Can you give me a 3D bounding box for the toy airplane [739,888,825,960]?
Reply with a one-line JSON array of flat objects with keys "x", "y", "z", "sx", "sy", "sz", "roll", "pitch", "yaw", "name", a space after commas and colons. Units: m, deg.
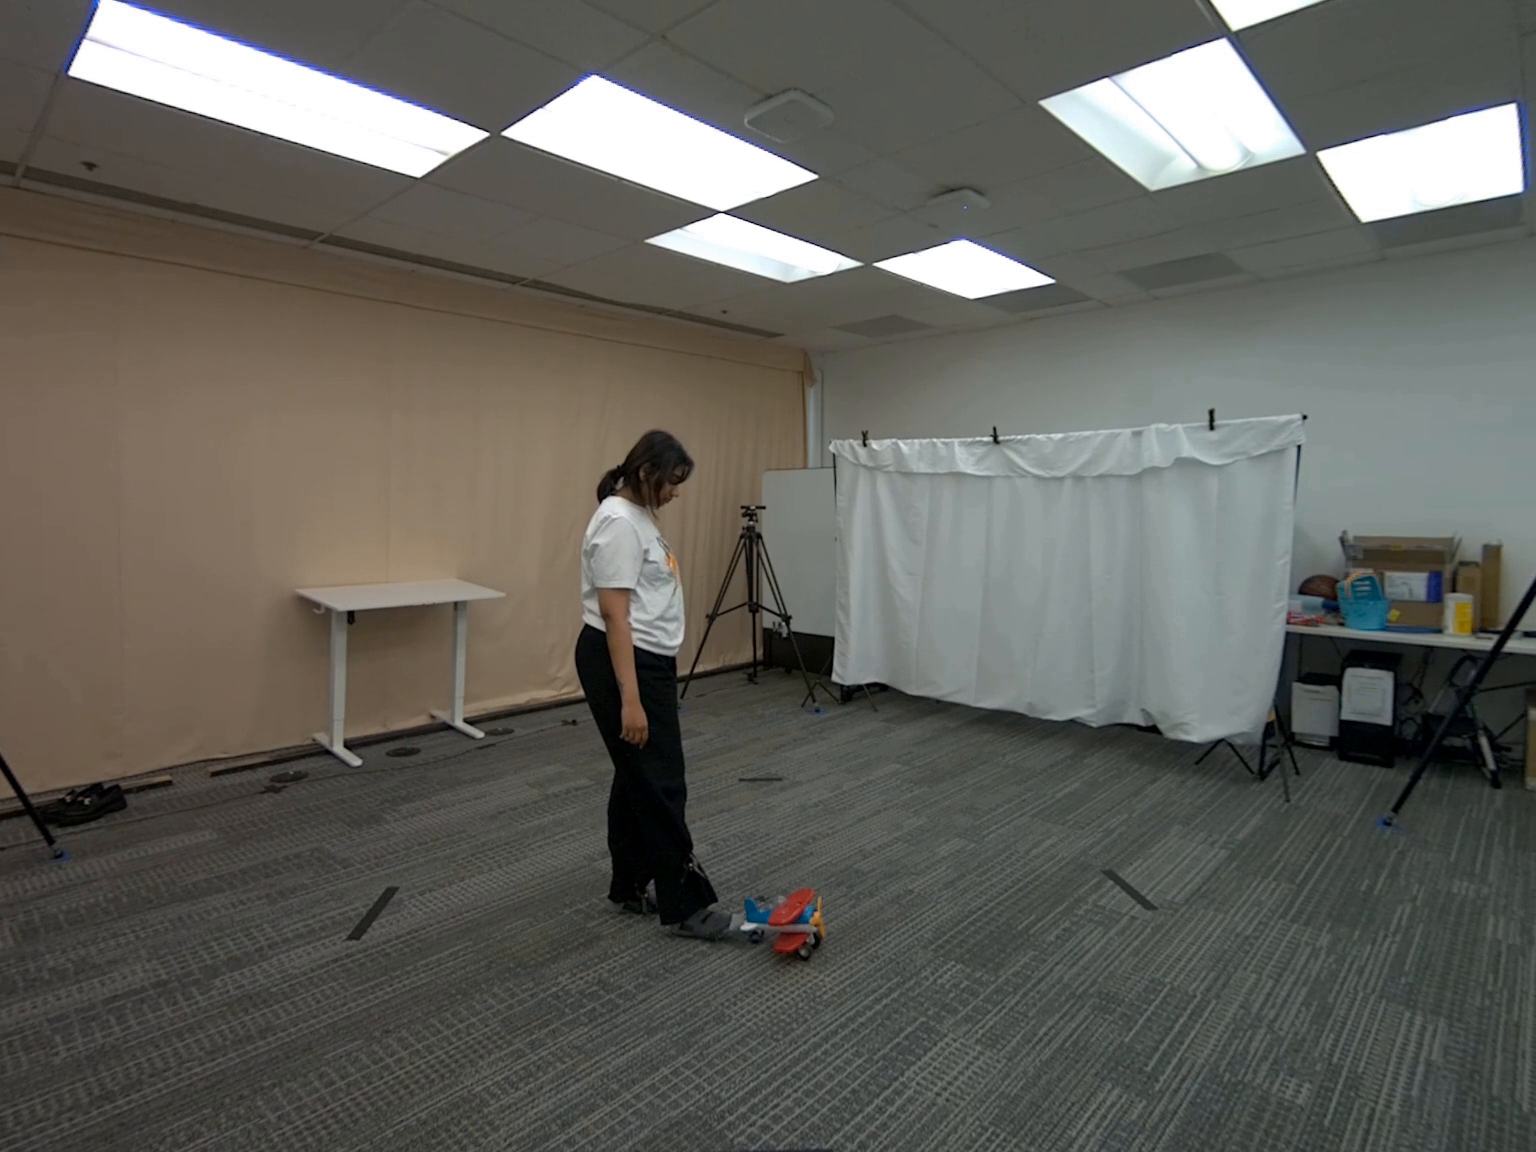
[{"x": 0.044, "y": 1.095, "z": 2.638, "sx": 0.258, "sy": 0.156, "sz": 0.252, "roll": 0, "pitch": 5, "yaw": -3, "name": "toy airplane"}]
